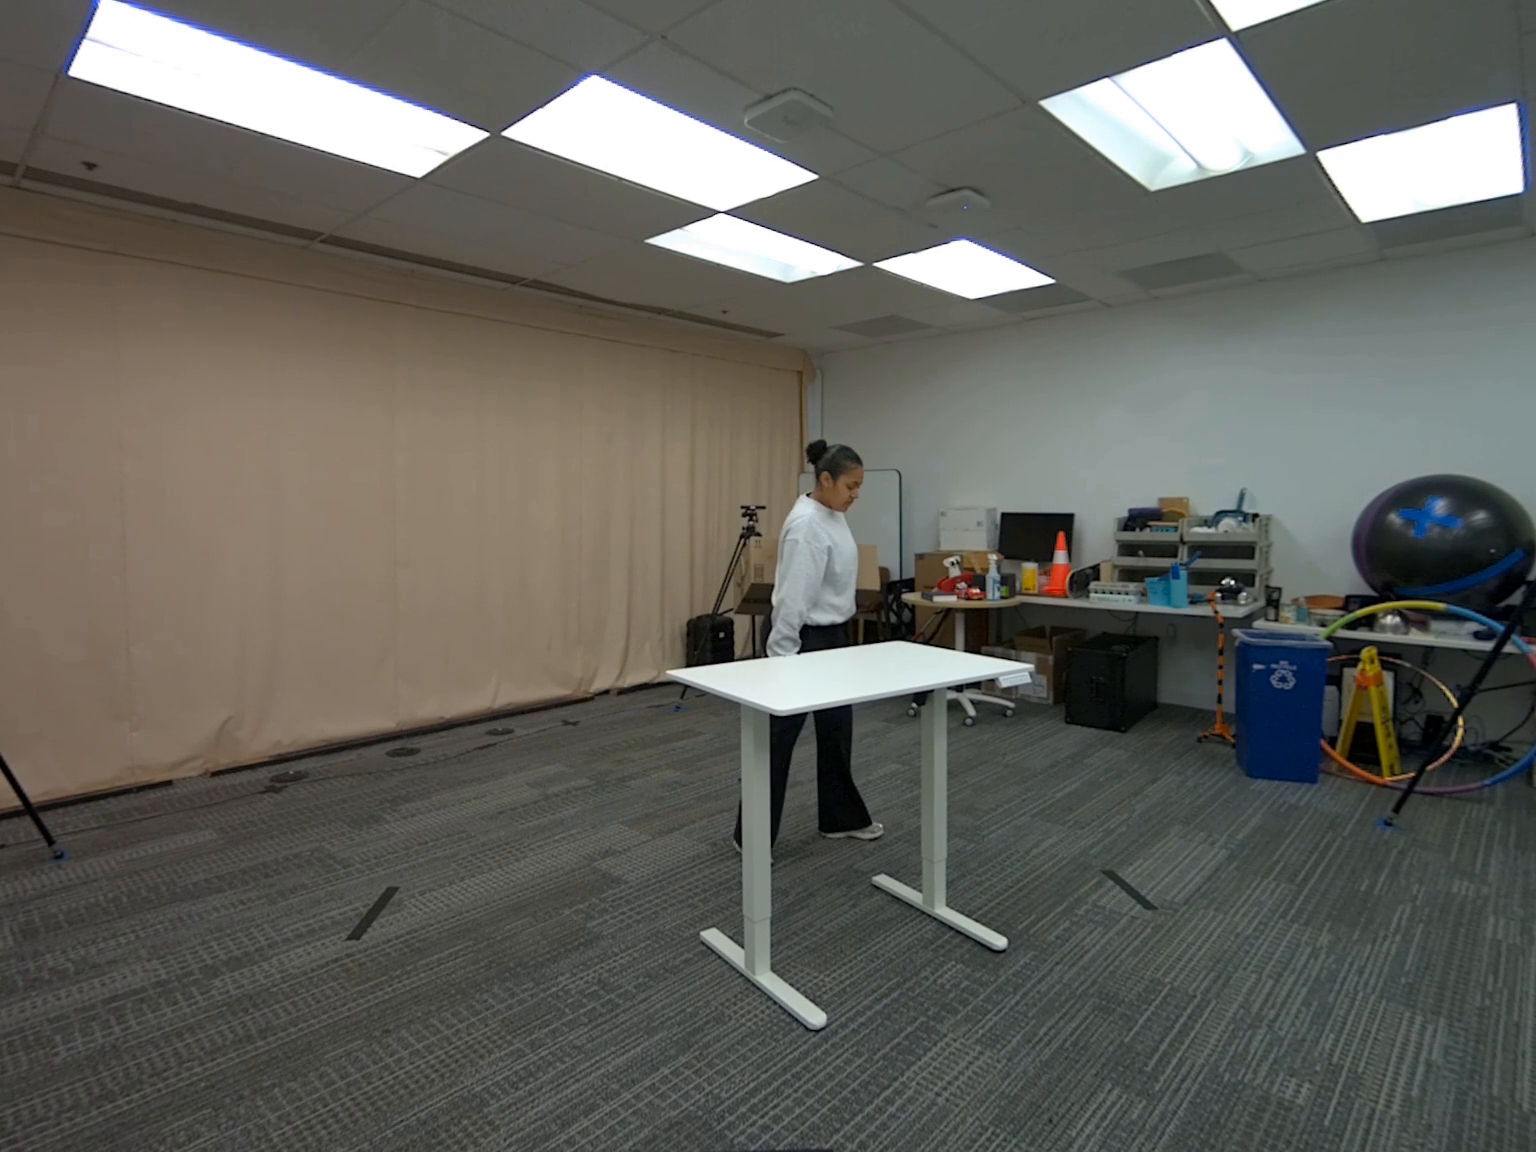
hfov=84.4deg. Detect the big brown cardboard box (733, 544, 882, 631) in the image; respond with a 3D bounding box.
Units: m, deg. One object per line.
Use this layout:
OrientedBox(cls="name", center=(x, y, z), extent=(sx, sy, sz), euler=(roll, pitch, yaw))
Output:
OrientedBox(cls="big brown cardboard box", center=(0.174, 0.013, 3.783), extent=(0.583, 0.236, 0.416), euler=(4, -23, -9))
